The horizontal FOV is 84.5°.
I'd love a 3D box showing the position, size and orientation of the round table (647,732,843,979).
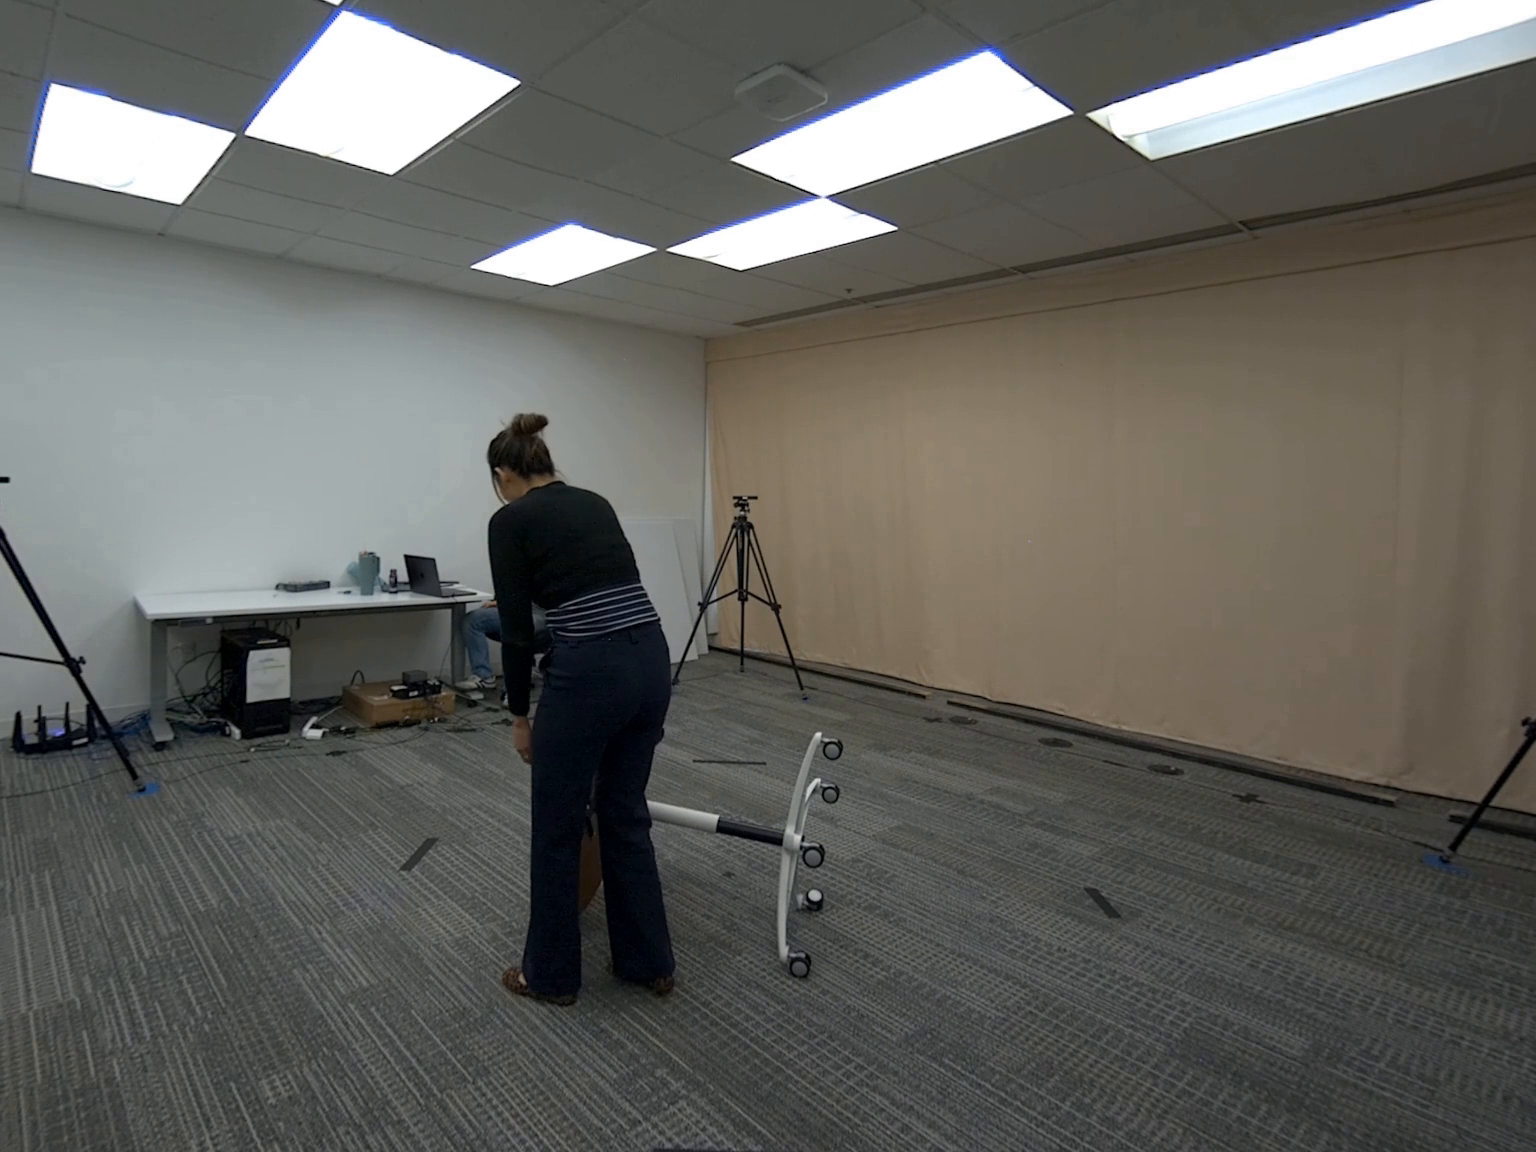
[{"bbox_3d":[-0.202,0.802,2.721,0.801,0.761,0.759,8,5,9],"label":"round table"}]
